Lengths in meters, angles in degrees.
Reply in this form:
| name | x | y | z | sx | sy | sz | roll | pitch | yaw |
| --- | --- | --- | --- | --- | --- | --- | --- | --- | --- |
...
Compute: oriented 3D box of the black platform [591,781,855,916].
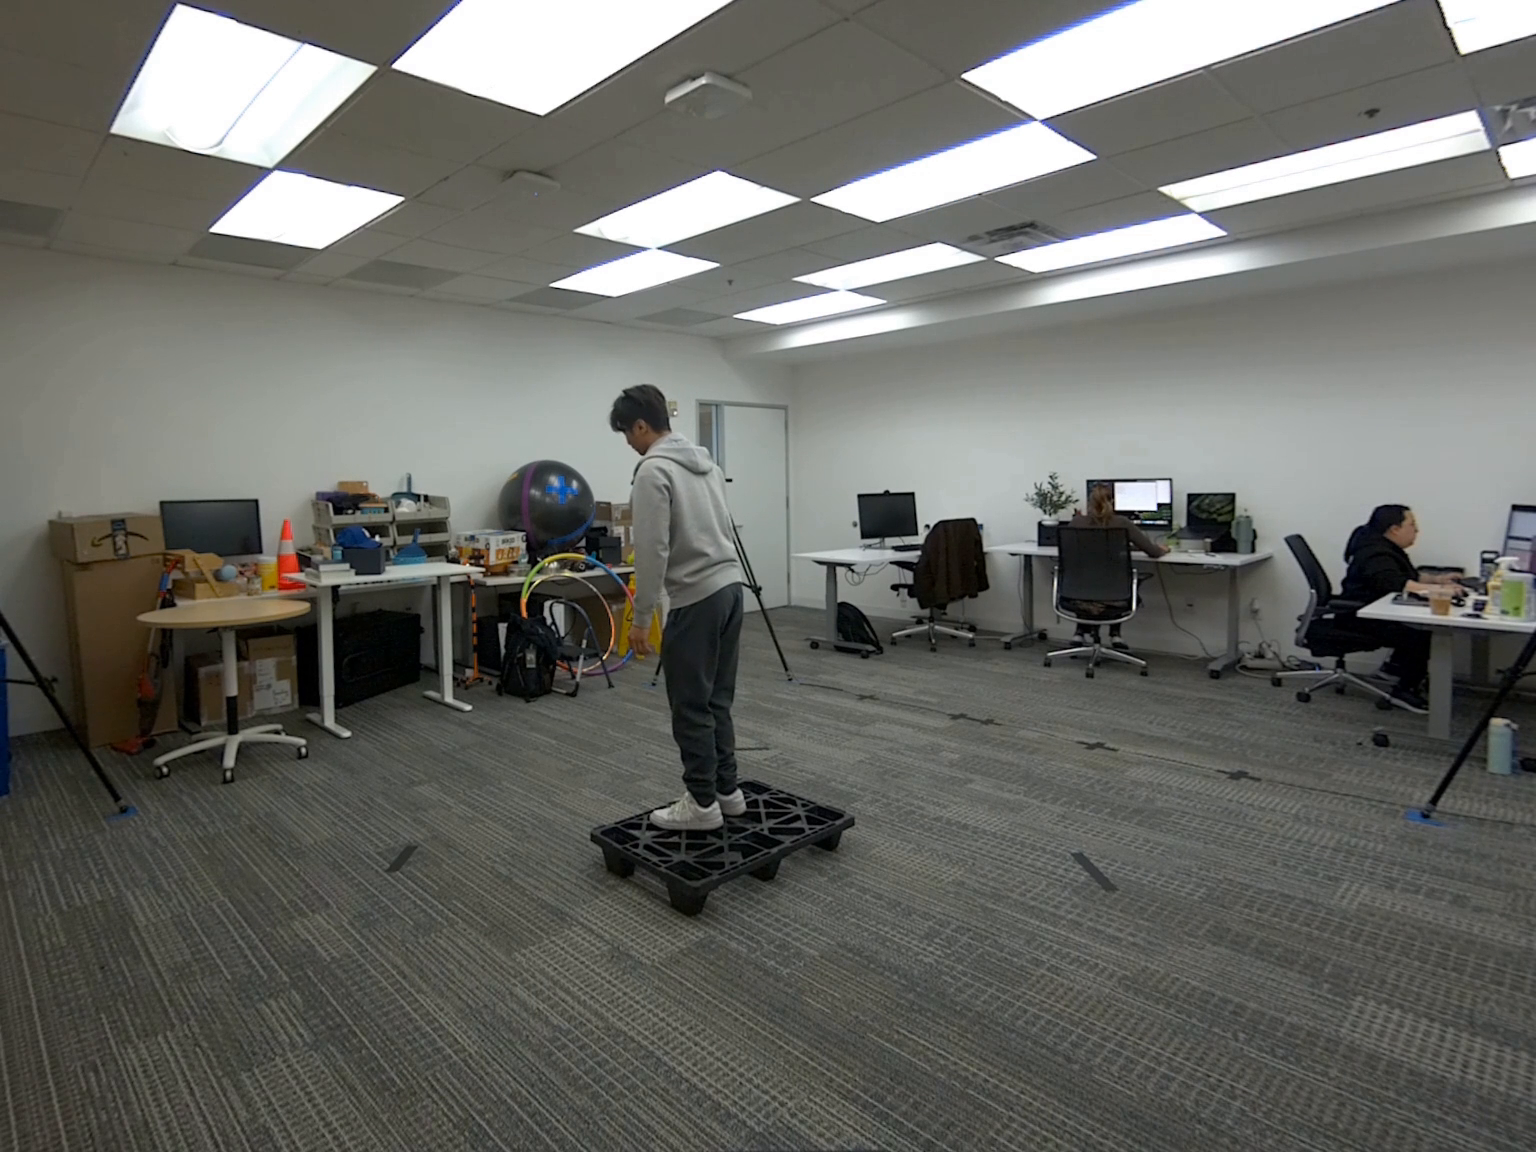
| name | x | y | z | sx | sy | sz | roll | pitch | yaw |
| --- | --- | --- | --- | --- | --- | --- | --- | --- | --- |
| black platform | -0.154 | 0.975 | 3.148 | 0.785 | 0.142 | 0.624 | -7 | 10 | -43 |
